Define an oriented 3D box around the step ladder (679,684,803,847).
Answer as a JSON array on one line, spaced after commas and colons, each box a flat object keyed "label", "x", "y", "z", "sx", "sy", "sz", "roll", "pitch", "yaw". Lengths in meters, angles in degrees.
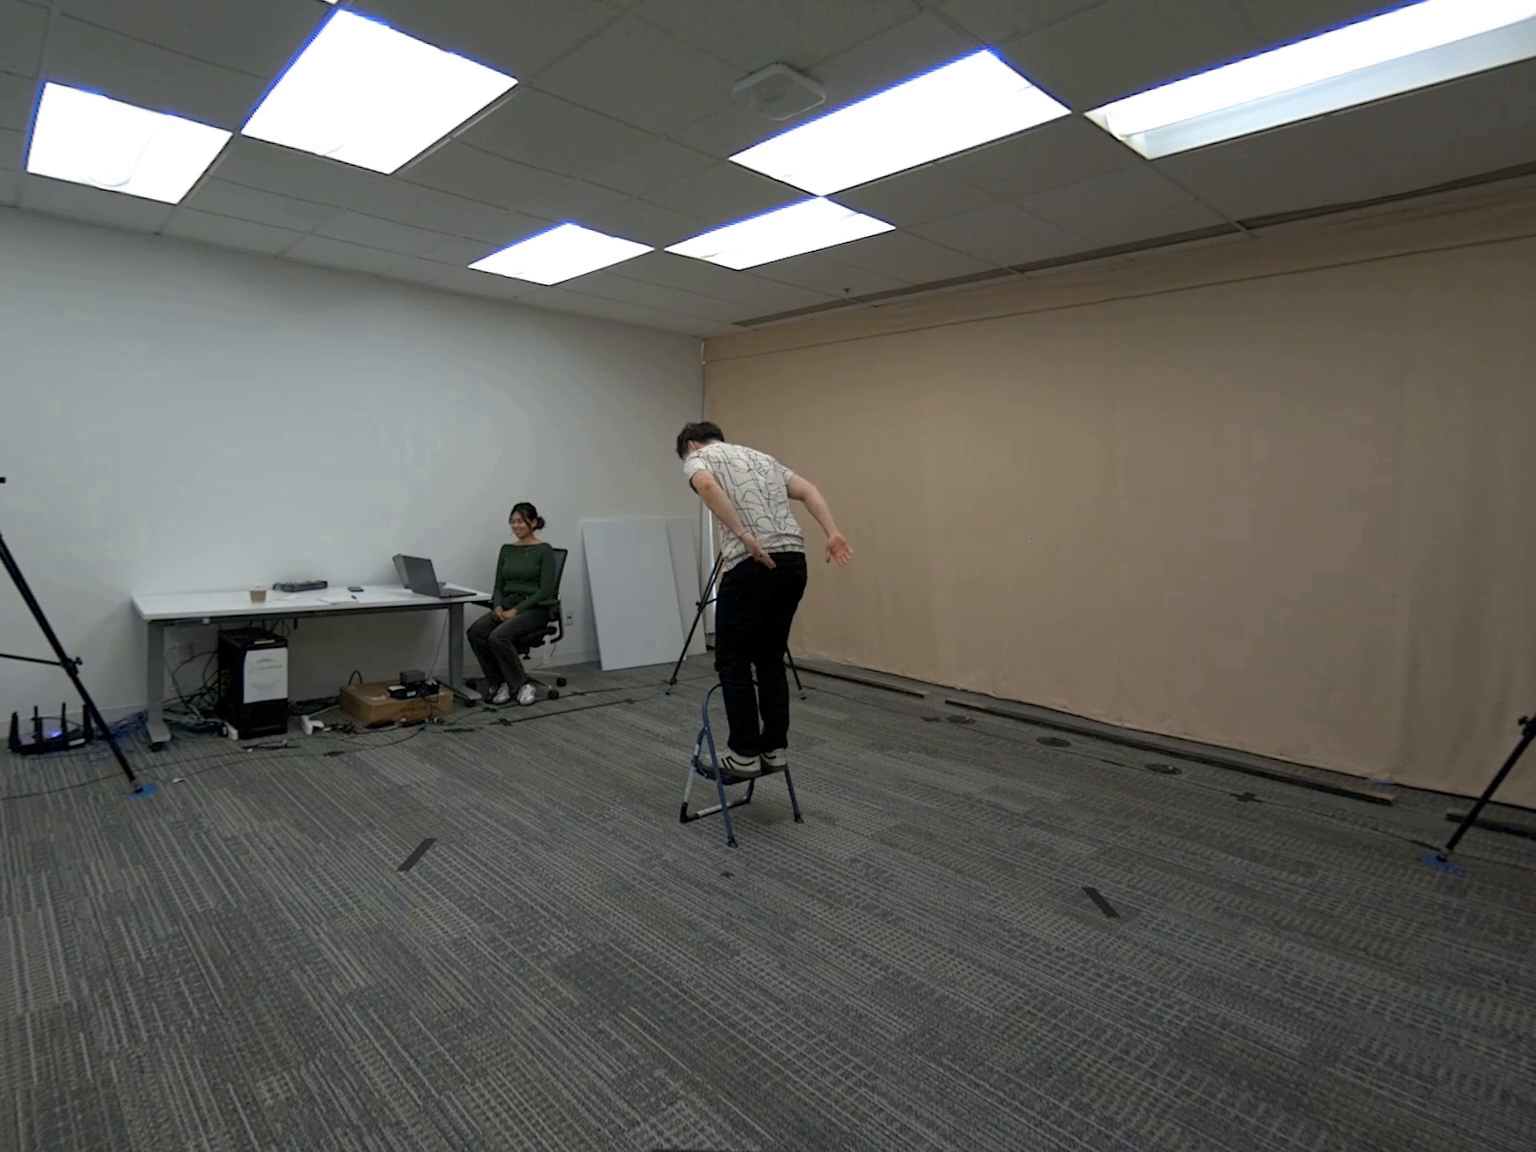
[{"label": "step ladder", "x": -0.117, "y": 0.754, "z": 3.603, "sx": 0.358, "sy": 0.605, "sz": 0.421, "roll": 4, "pitch": 4, "yaw": 44}]
